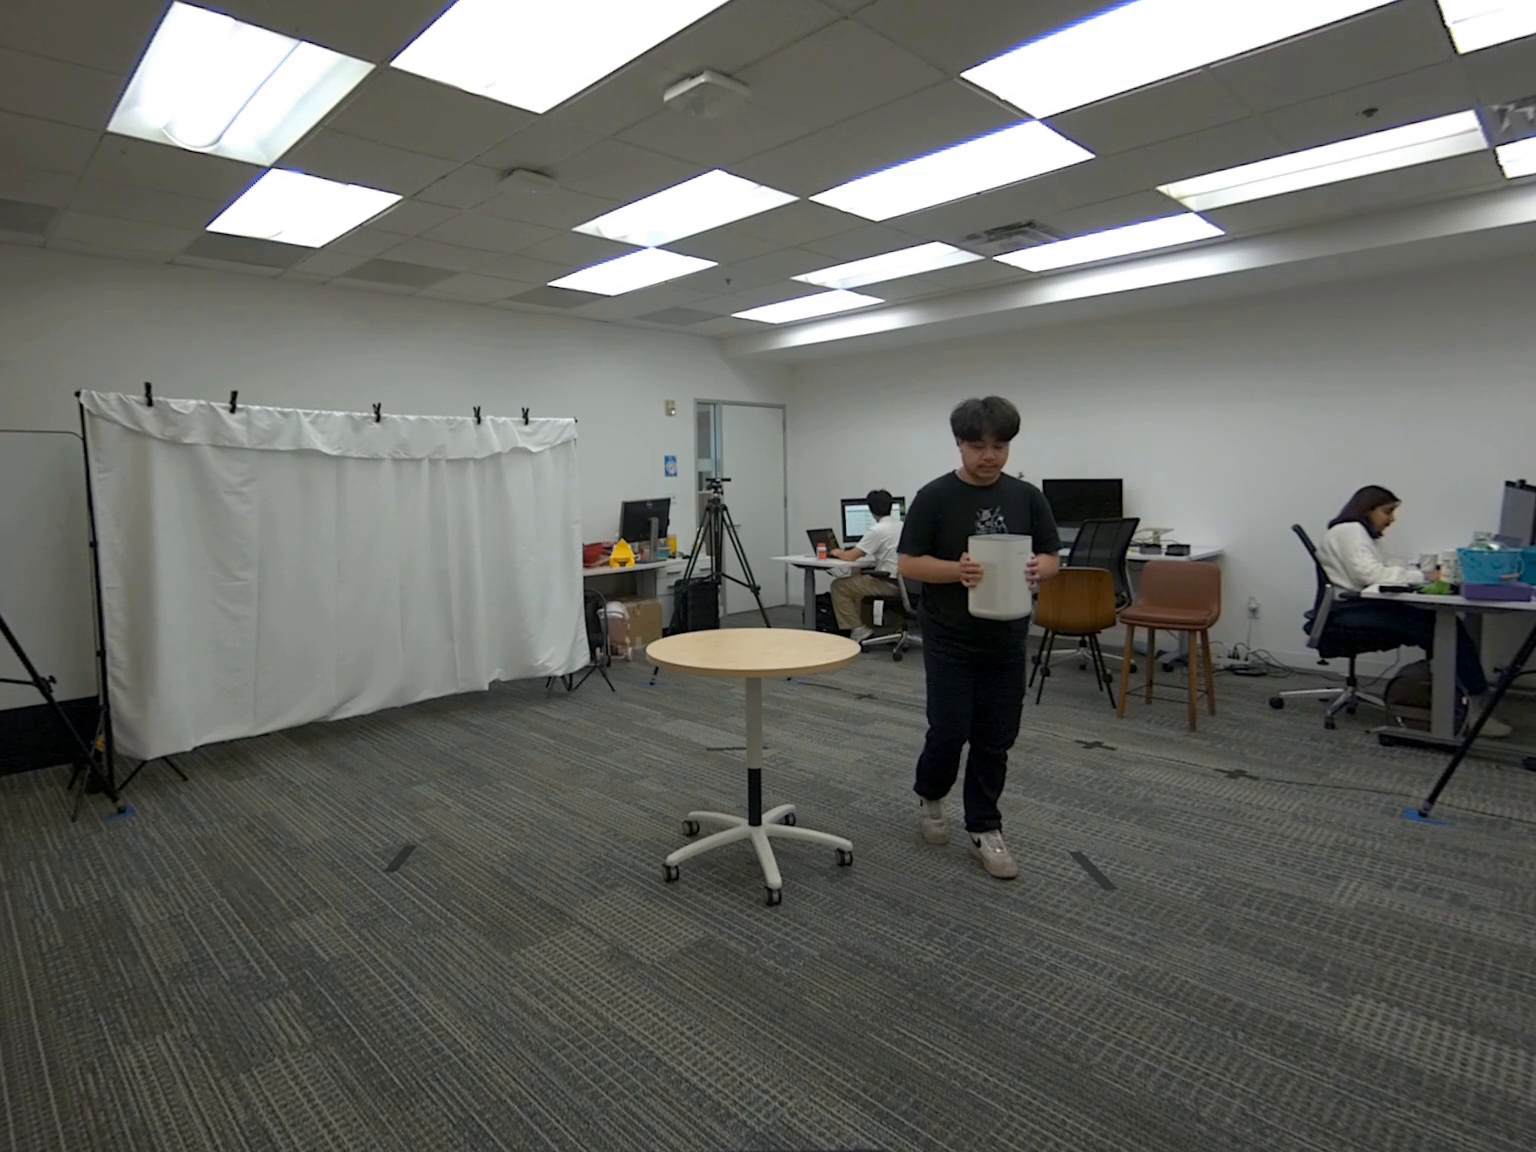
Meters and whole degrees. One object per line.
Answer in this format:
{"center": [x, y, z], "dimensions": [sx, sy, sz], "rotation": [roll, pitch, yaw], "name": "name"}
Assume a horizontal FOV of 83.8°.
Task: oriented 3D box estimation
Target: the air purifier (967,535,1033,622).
{"center": [0.750, 0.003, 2.816], "dimensions": [0.167, 0.264, 0.177], "rotation": [-7, 8, -44], "name": "air purifier"}
